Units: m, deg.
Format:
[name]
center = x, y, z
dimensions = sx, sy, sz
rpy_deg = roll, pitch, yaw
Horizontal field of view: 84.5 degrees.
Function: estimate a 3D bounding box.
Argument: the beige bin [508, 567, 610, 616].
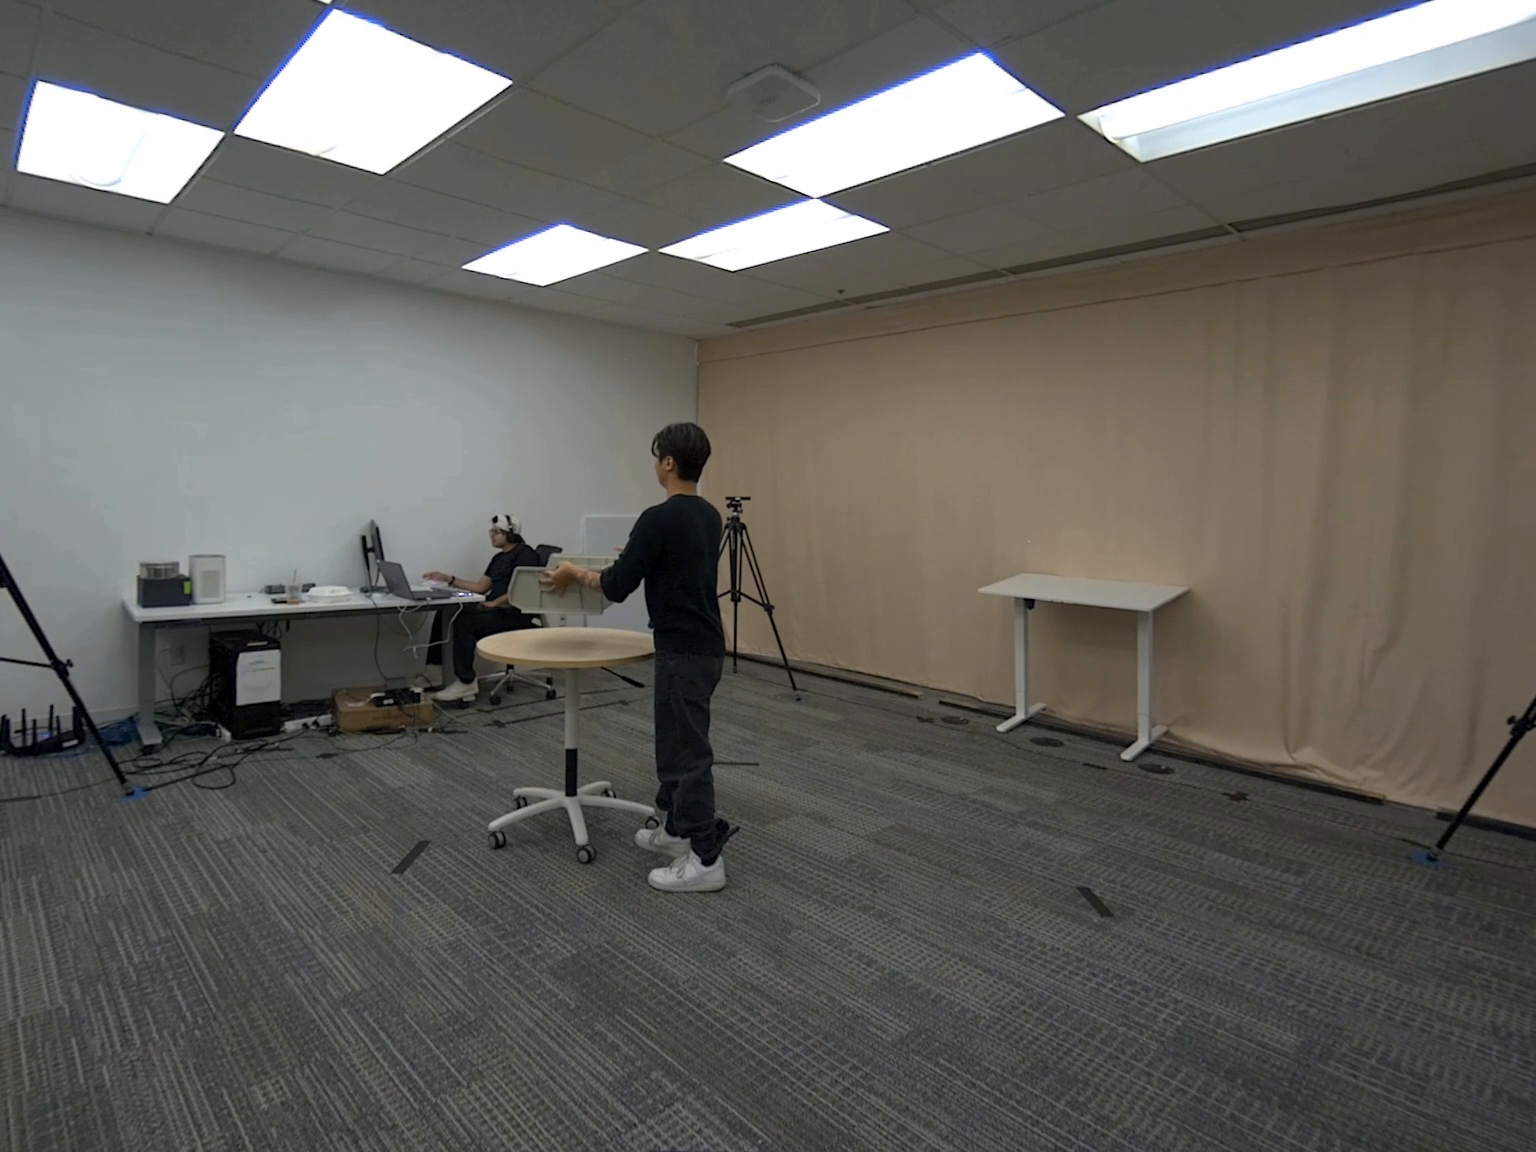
[beige bin]
center = -0.803, 0.031, 3.407
dimensions = 0.379, 0.188, 0.423
rpy_deg = 2, 8, 4
